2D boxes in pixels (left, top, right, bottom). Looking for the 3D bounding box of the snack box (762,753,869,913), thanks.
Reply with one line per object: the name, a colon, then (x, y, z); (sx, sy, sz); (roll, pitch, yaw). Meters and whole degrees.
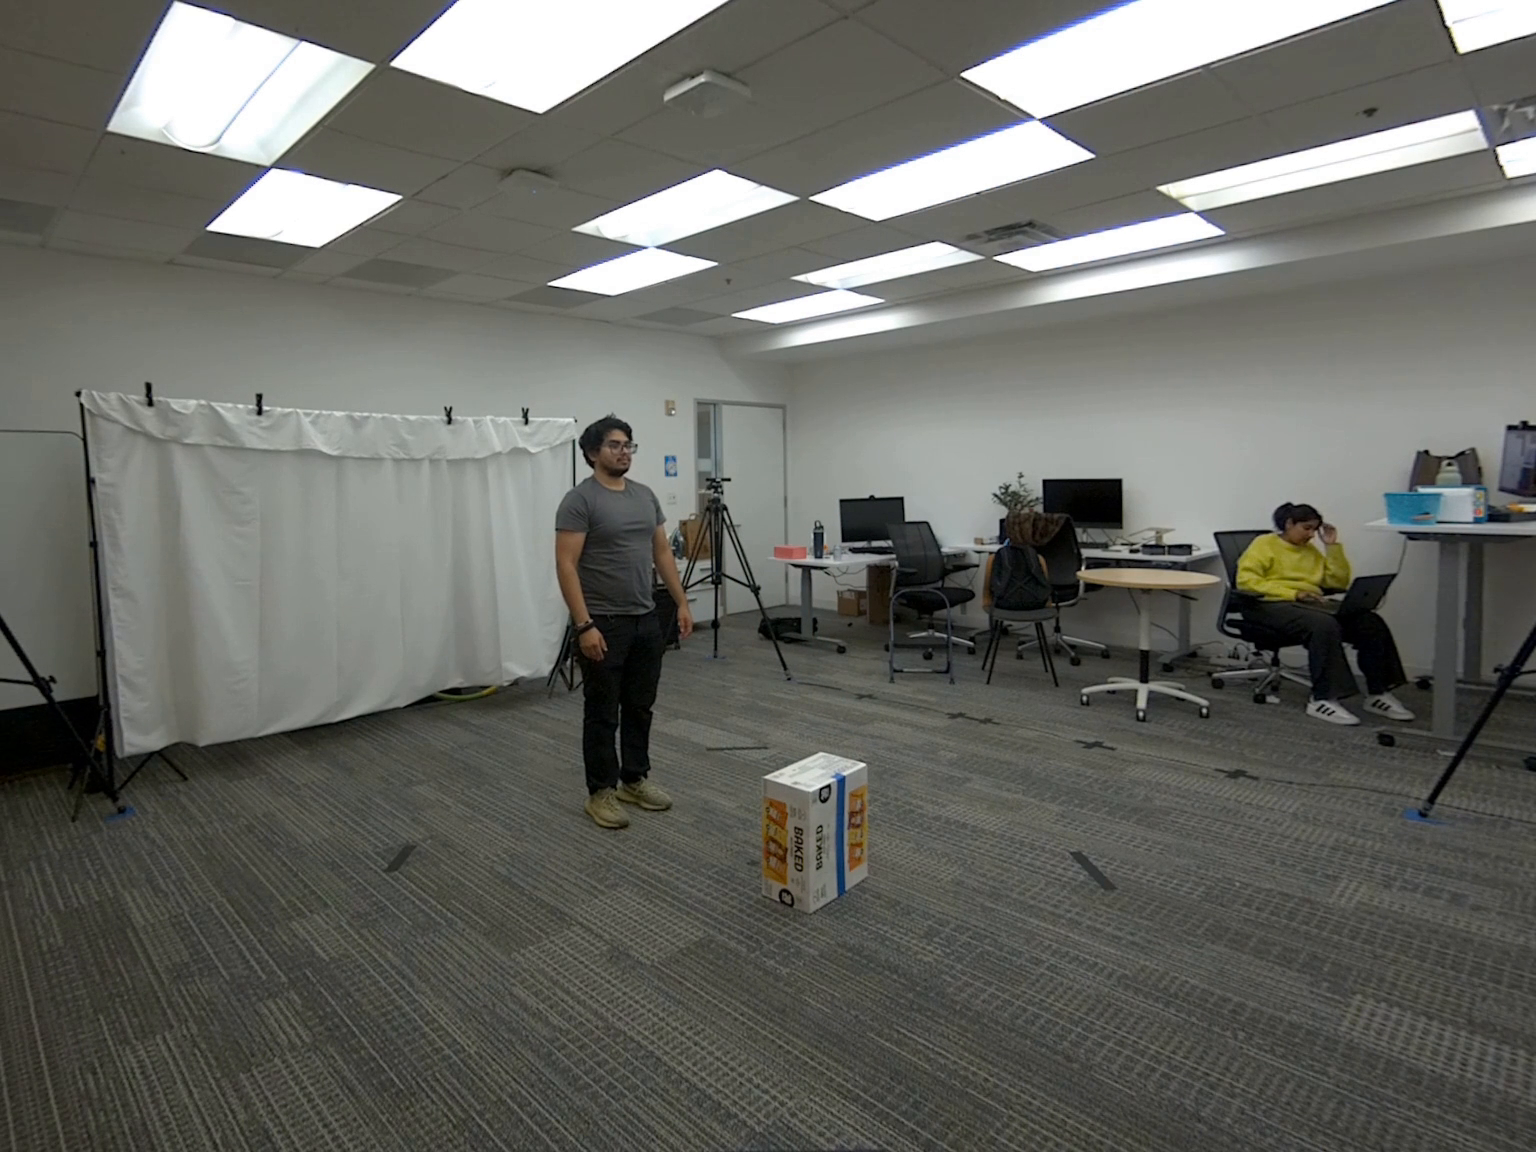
snack box: (0.163, 0.858, 2.904); (0.212, 0.403, 0.332); (3, 6, 40)
